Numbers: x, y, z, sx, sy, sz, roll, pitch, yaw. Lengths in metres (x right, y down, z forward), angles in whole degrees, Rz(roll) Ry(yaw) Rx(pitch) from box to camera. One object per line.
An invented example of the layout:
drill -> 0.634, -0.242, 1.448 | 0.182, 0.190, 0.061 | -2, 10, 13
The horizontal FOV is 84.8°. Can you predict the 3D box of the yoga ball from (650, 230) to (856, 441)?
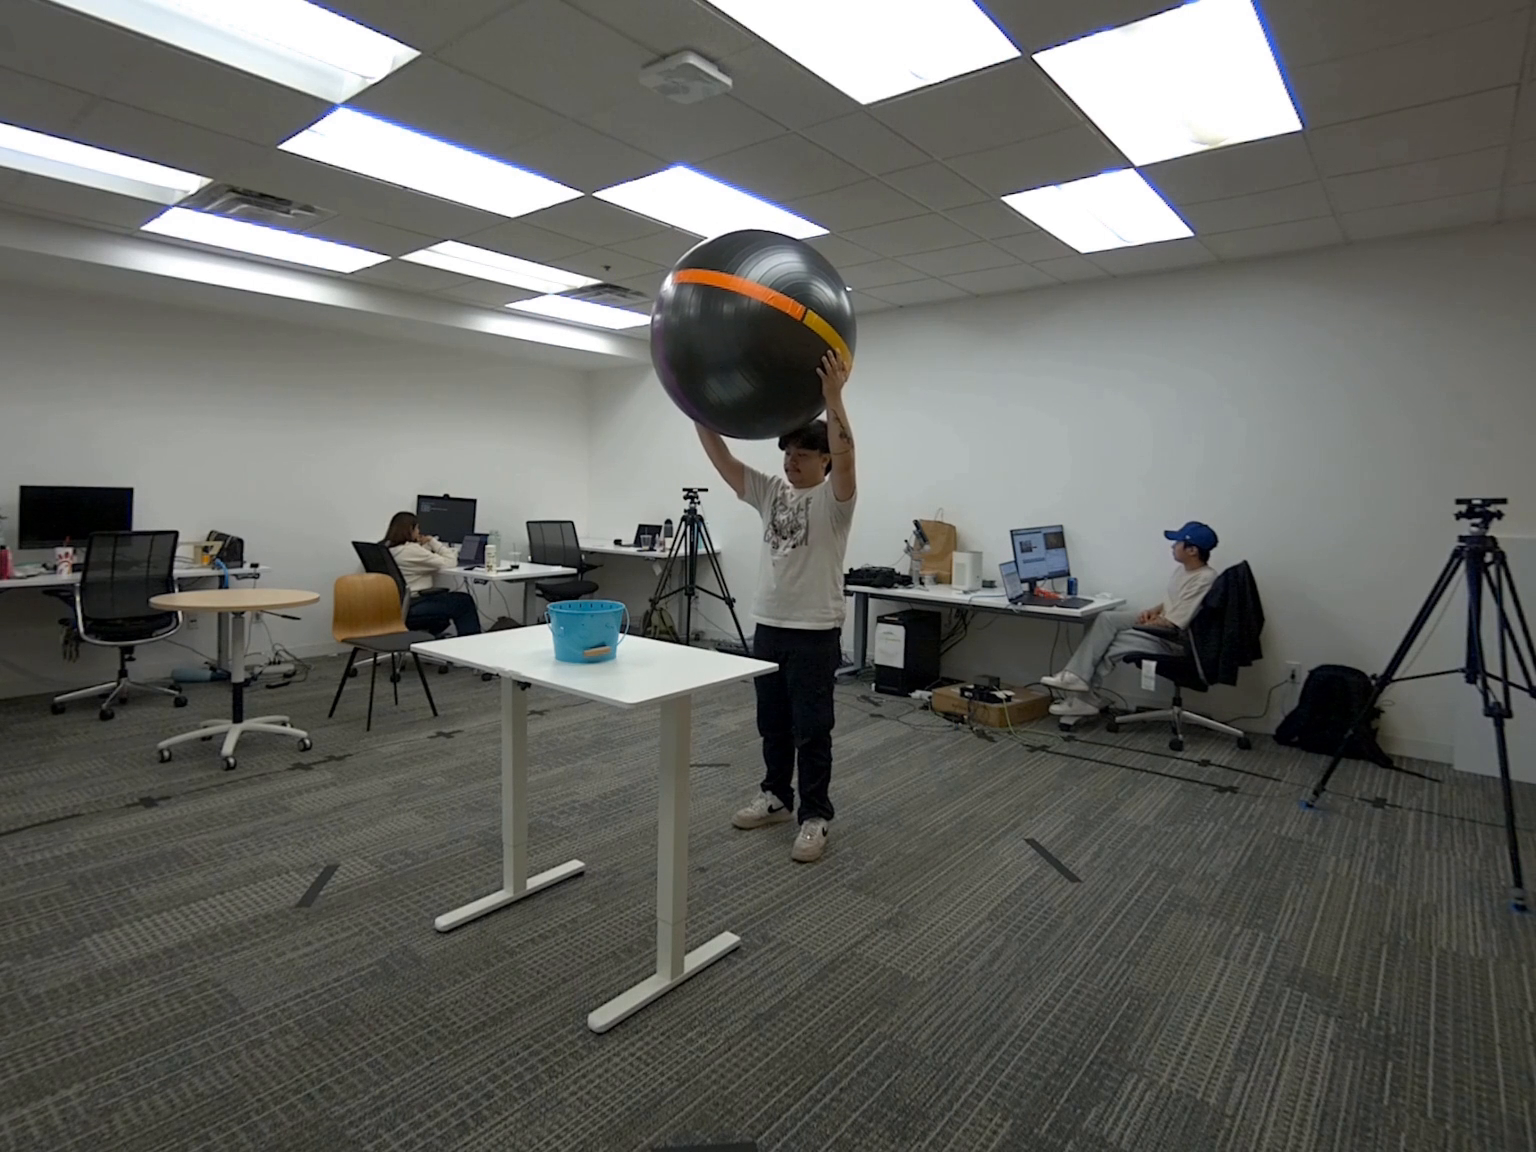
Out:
yoga ball -> -0.070, -0.880, 3.129 | 0.757, 0.755, 0.762 | 1, 4, -2
